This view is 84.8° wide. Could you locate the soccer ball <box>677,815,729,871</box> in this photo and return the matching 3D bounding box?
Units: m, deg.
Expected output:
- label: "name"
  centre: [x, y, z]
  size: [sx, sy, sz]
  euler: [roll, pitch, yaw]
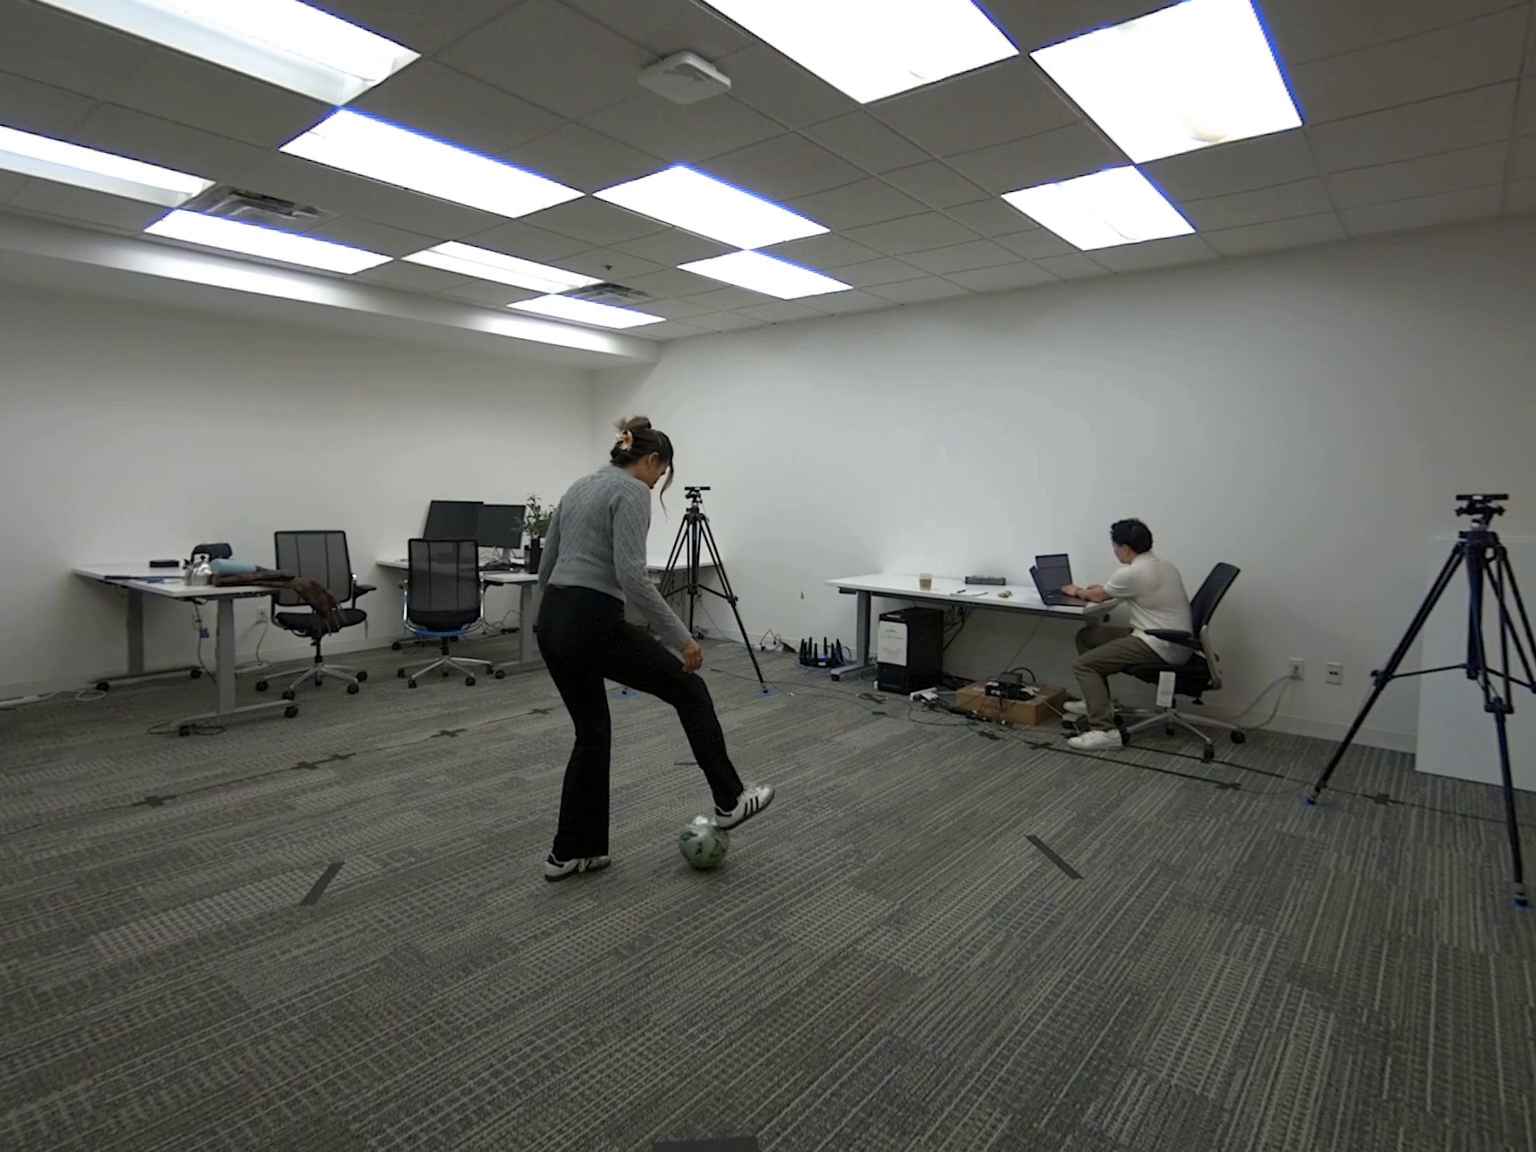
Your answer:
- label: "soccer ball"
  centre: [-0.260, 0.976, 3.108]
  size: [0.187, 0.187, 0.188]
  euler: [1, 4, -2]
